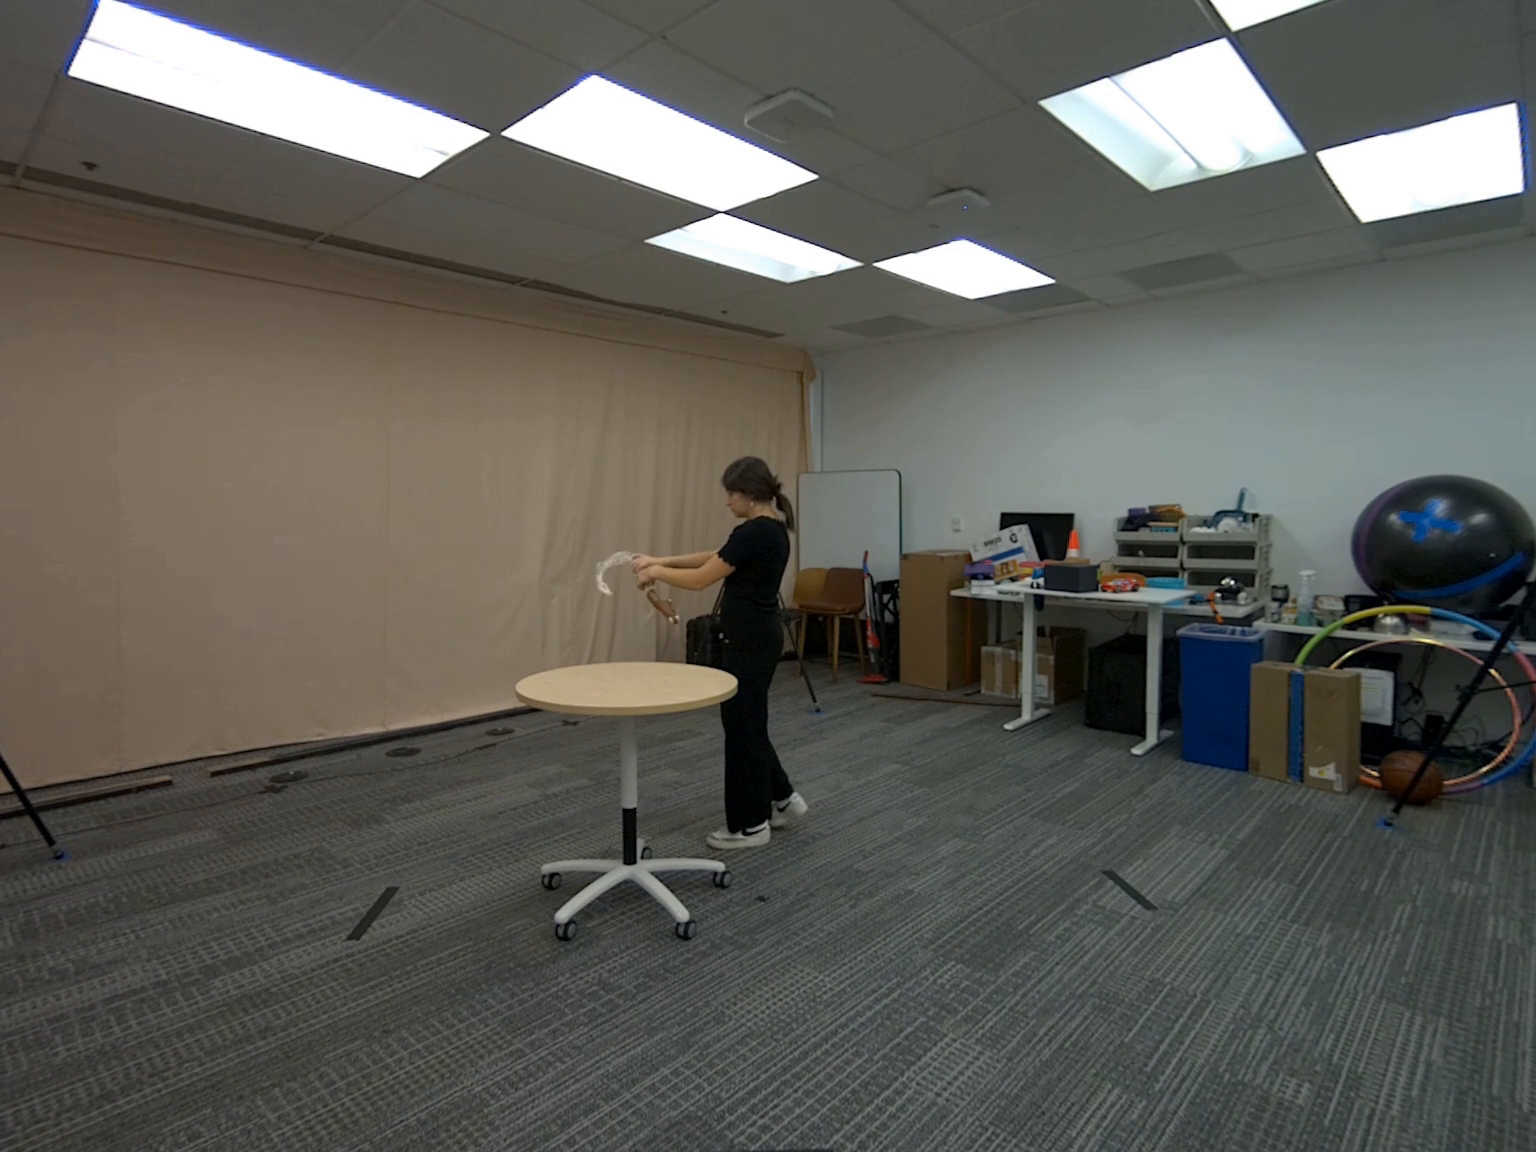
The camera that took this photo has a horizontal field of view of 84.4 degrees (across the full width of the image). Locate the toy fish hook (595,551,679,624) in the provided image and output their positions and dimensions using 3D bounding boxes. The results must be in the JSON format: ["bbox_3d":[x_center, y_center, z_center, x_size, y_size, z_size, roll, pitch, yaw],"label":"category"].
[{"bbox_3d":[-0.543,0.067,3.483,0.223,0.047,0.525,-36,51,-13],"label":"toy fish hook"}]
